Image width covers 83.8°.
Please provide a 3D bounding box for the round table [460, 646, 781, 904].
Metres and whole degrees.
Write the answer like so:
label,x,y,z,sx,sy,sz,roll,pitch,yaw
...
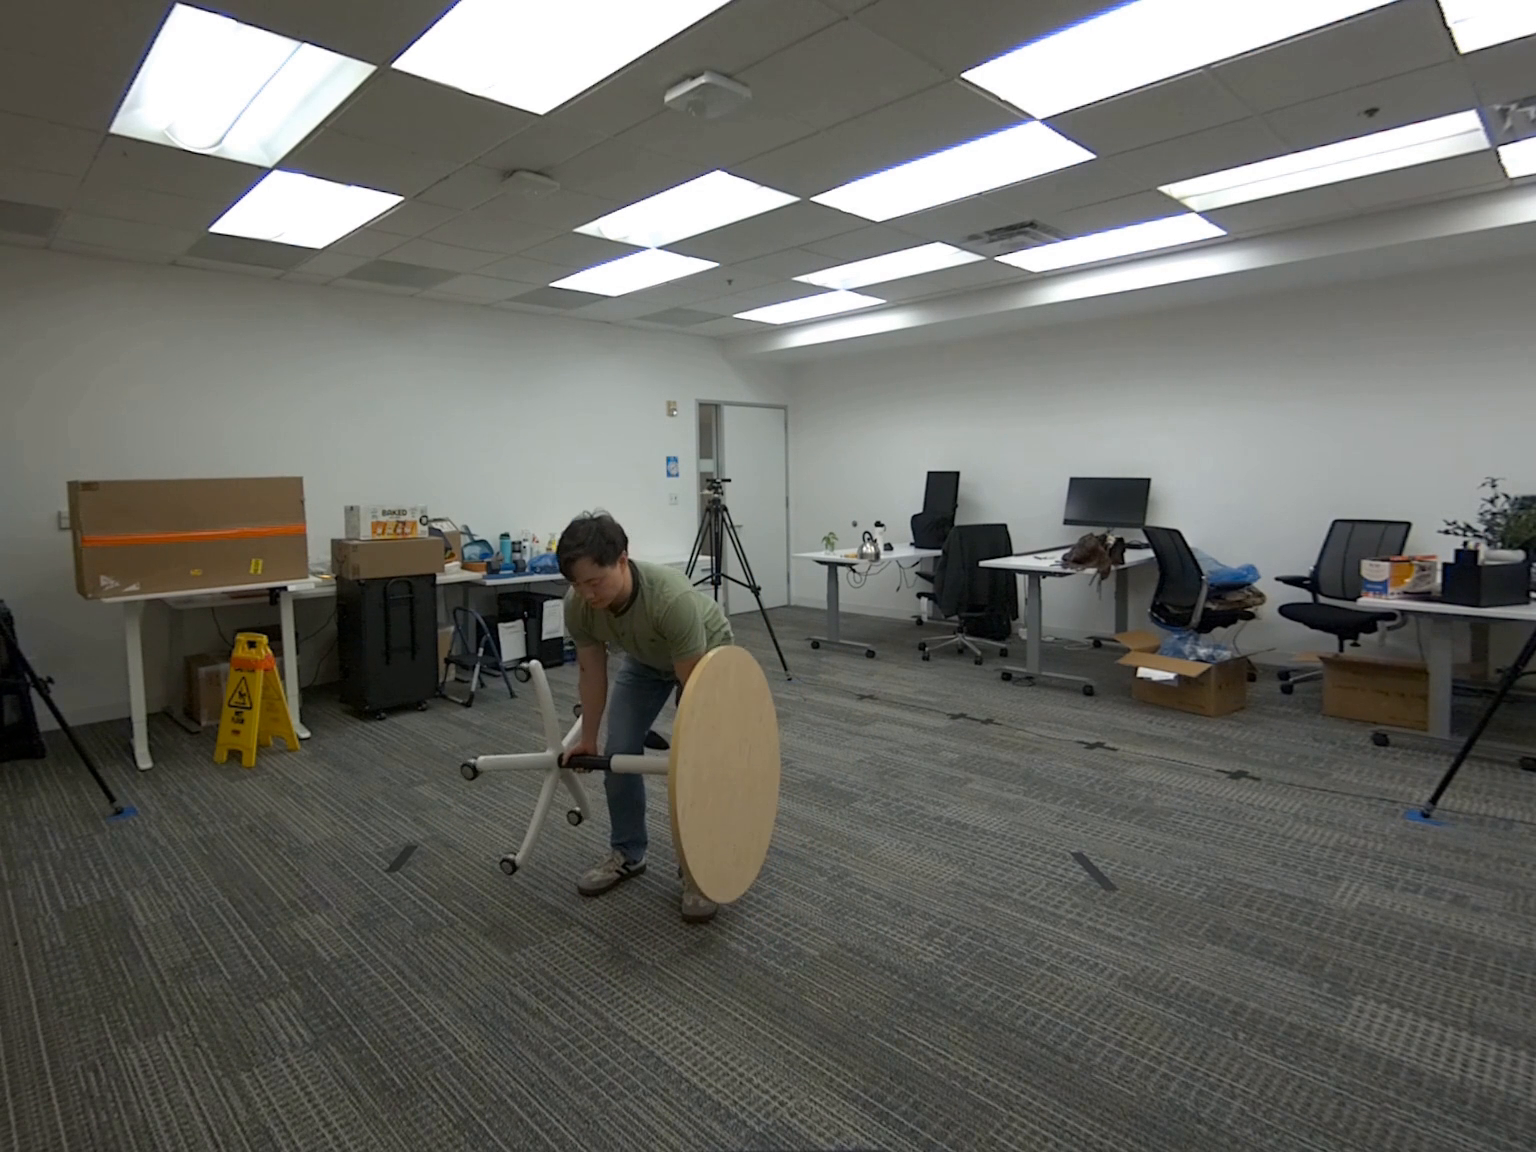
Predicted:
label,x,y,z,sx,sy,sz,roll,pitch,yaw
round table,-0.473,0.627,2.814,0.810,0.762,0.750,-4,3,23
